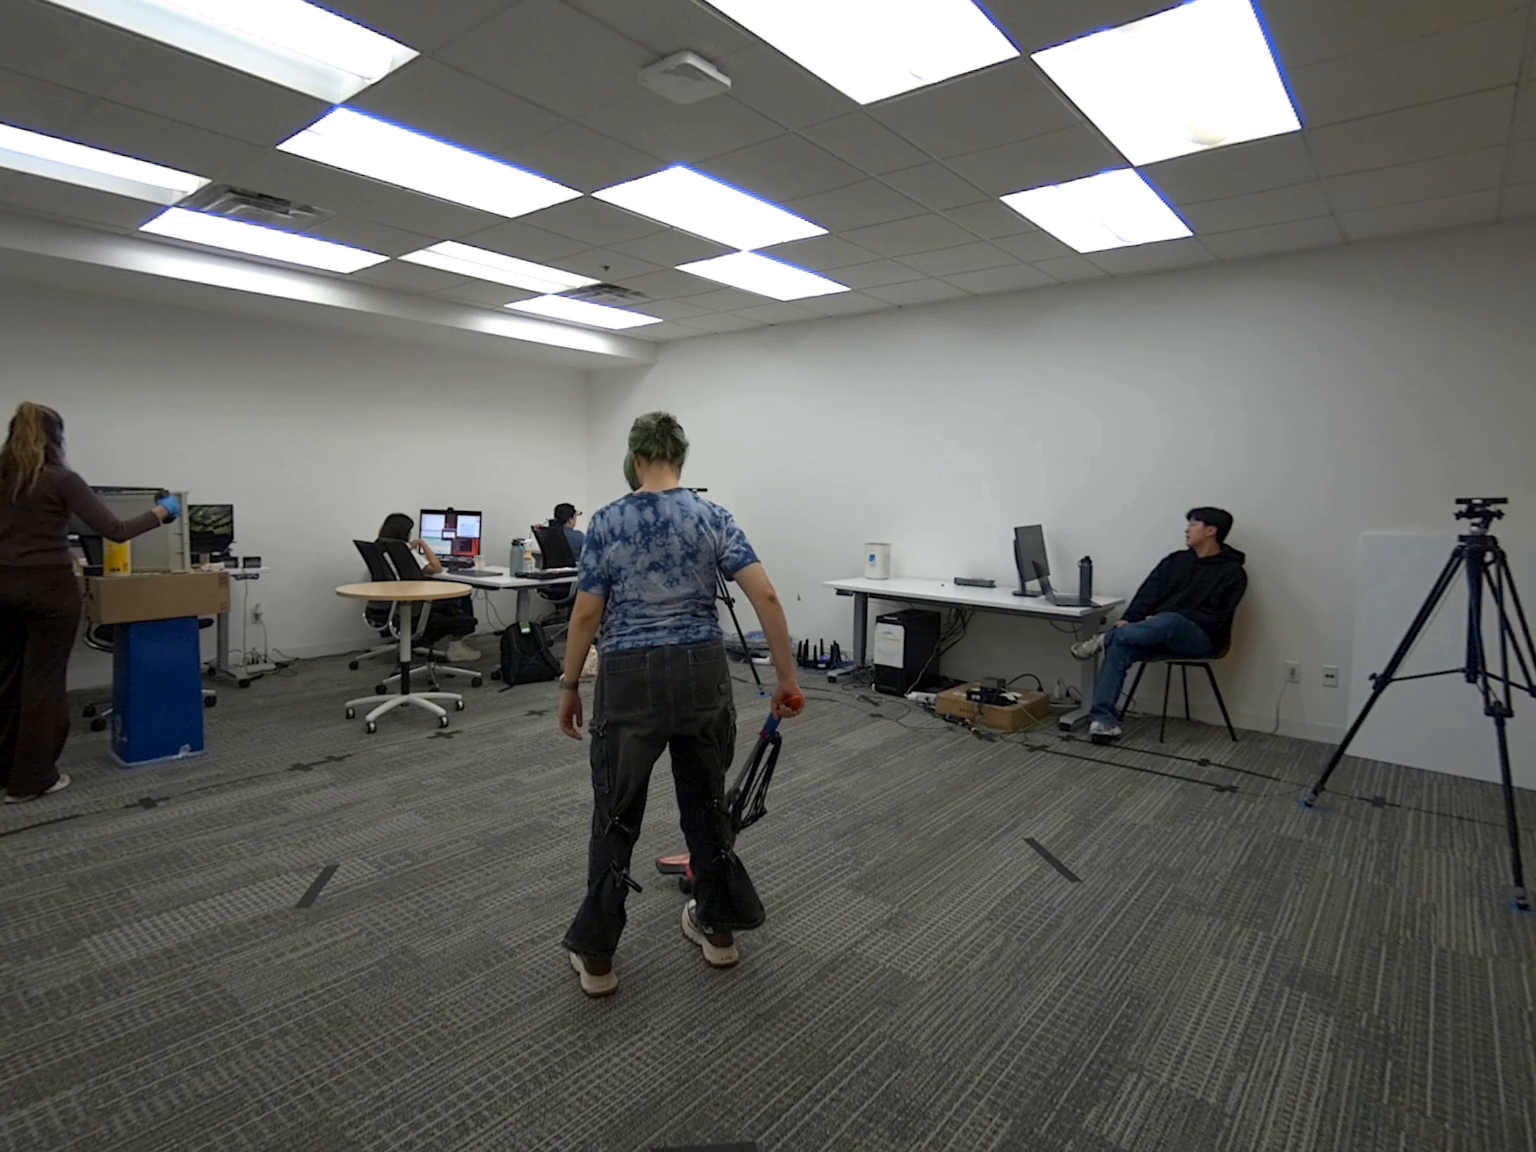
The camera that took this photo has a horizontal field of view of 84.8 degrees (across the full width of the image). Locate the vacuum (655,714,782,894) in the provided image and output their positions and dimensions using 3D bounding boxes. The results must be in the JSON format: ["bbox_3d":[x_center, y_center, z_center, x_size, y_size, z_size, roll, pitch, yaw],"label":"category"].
[{"bbox_3d":[-0.102,0.704,2.665,0.246,0.149,1.036,2,-43,-26],"label":"vacuum"}]
